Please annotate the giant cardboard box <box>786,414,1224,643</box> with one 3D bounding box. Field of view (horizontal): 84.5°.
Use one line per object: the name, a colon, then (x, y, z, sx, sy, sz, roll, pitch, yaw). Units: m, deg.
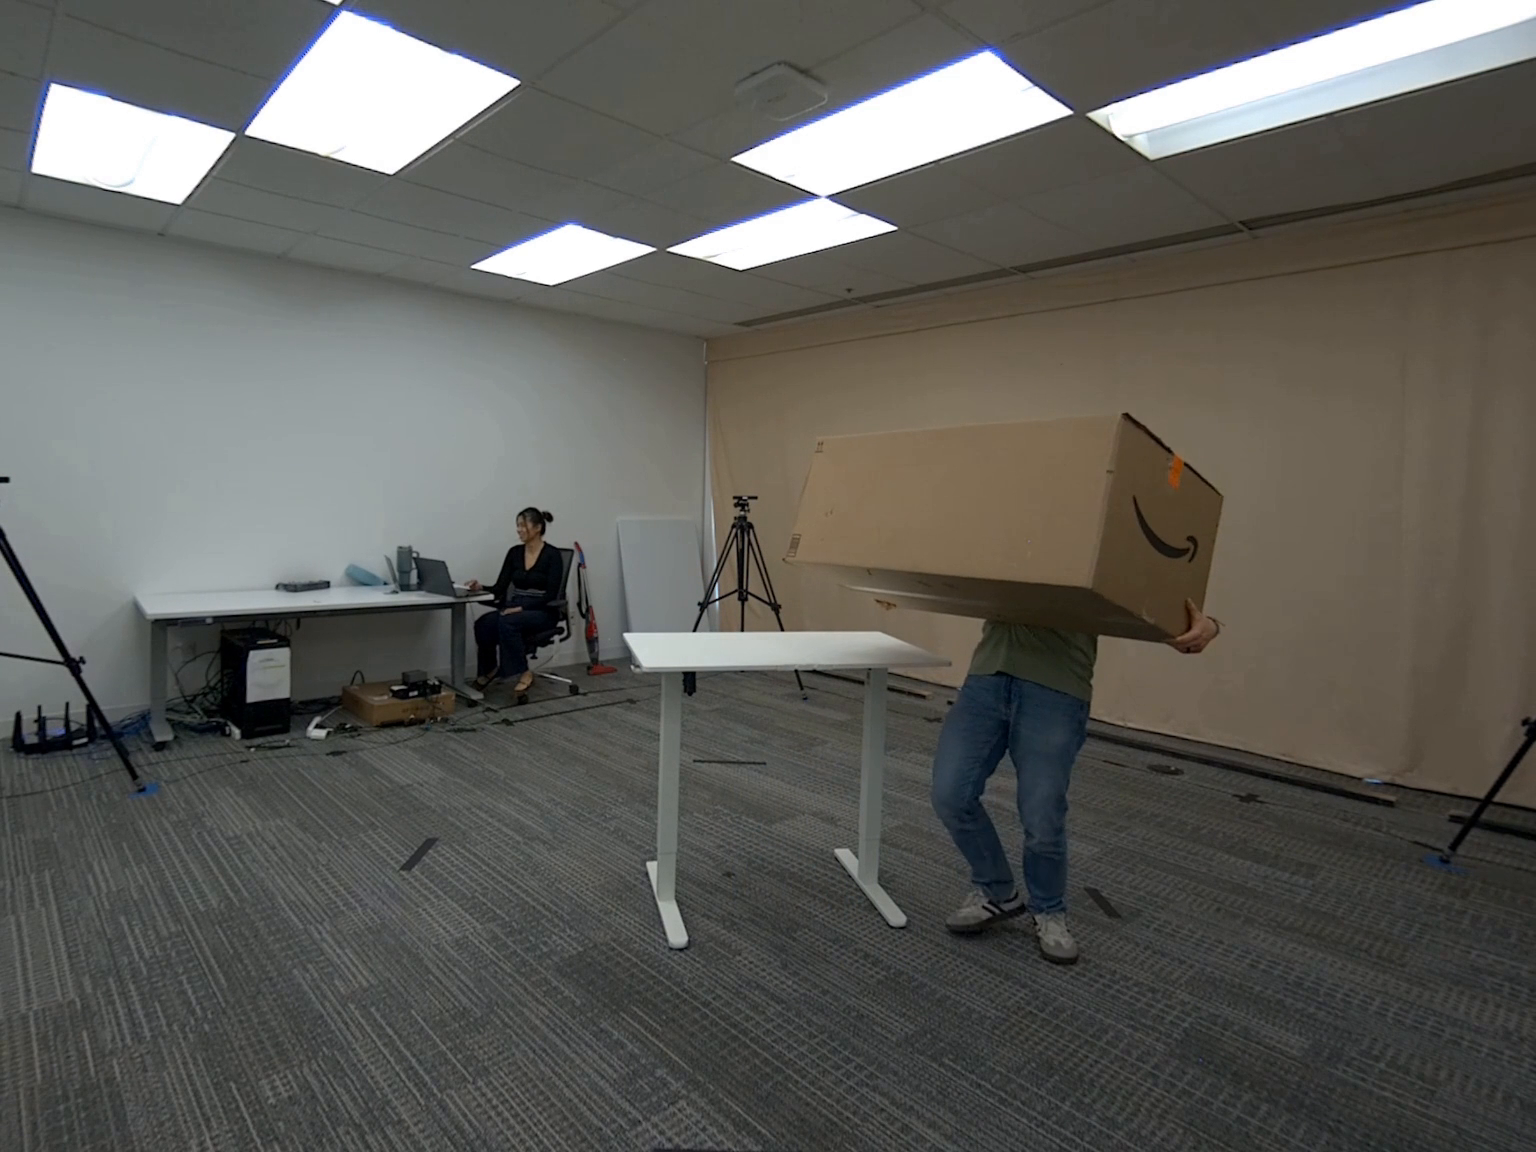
giant cardboard box: (0.623, -0.133, 2.455, 0.561, 0.428, 1.051, 23, -10, -38)
